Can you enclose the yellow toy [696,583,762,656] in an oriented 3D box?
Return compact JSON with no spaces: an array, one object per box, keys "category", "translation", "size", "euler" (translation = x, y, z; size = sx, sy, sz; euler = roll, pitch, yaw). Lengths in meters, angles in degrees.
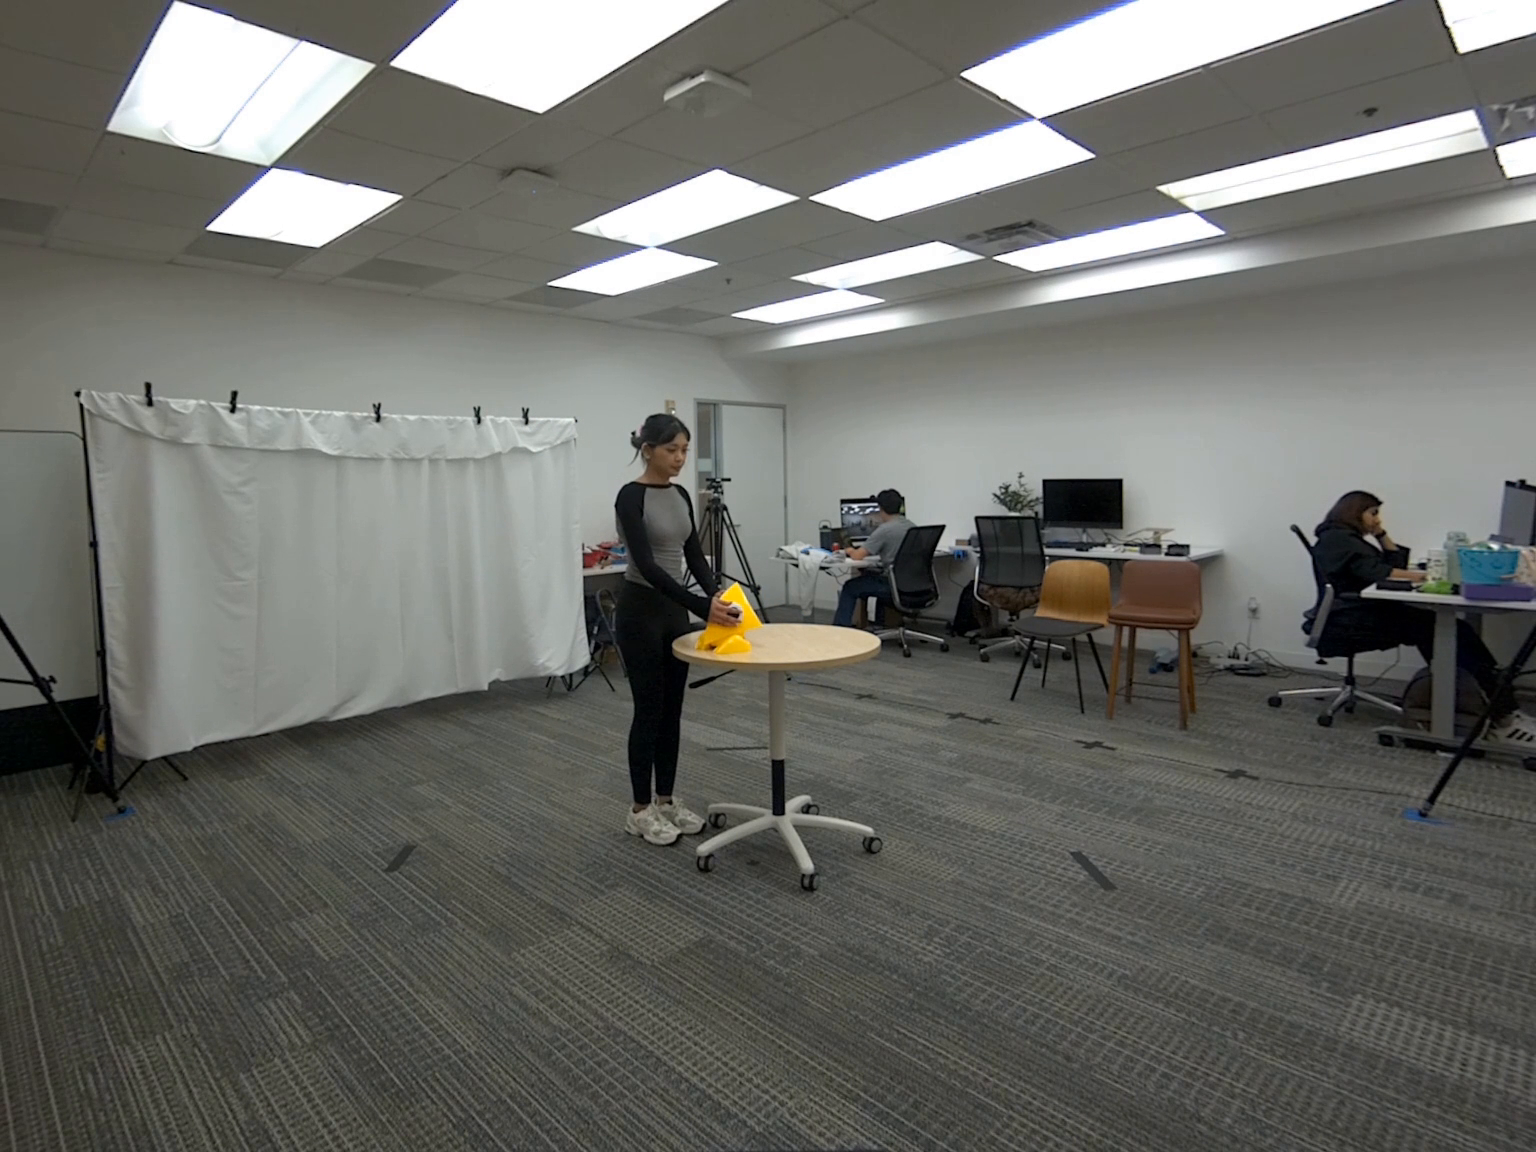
[{"category":"yellow toy","translation":[-0.155,0.145,3.052],"size":[0.188,0.230,0.211],"euler":[-4,6,-40]}]
